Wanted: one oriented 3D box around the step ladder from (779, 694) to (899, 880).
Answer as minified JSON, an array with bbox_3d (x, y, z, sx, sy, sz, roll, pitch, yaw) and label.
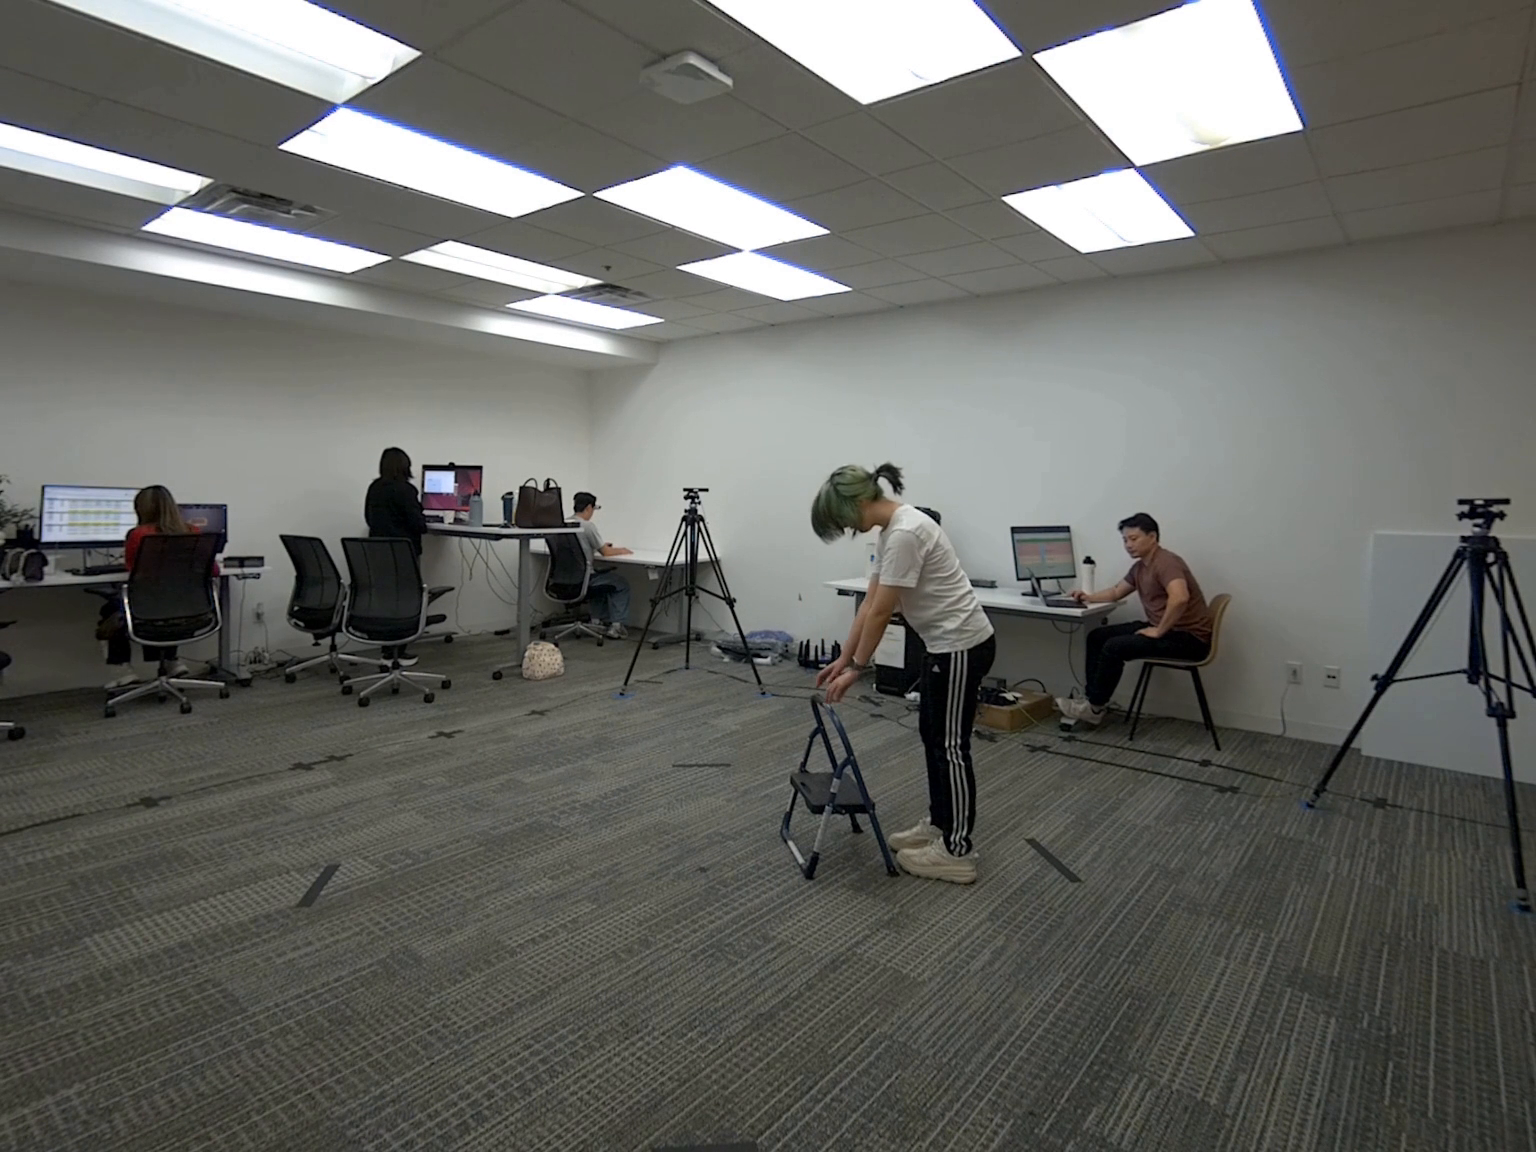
[{"bbox_3d":[0.257,0.771,3.261,0.346,0.604,0.437,0,5,-11],"label":"step ladder"}]
